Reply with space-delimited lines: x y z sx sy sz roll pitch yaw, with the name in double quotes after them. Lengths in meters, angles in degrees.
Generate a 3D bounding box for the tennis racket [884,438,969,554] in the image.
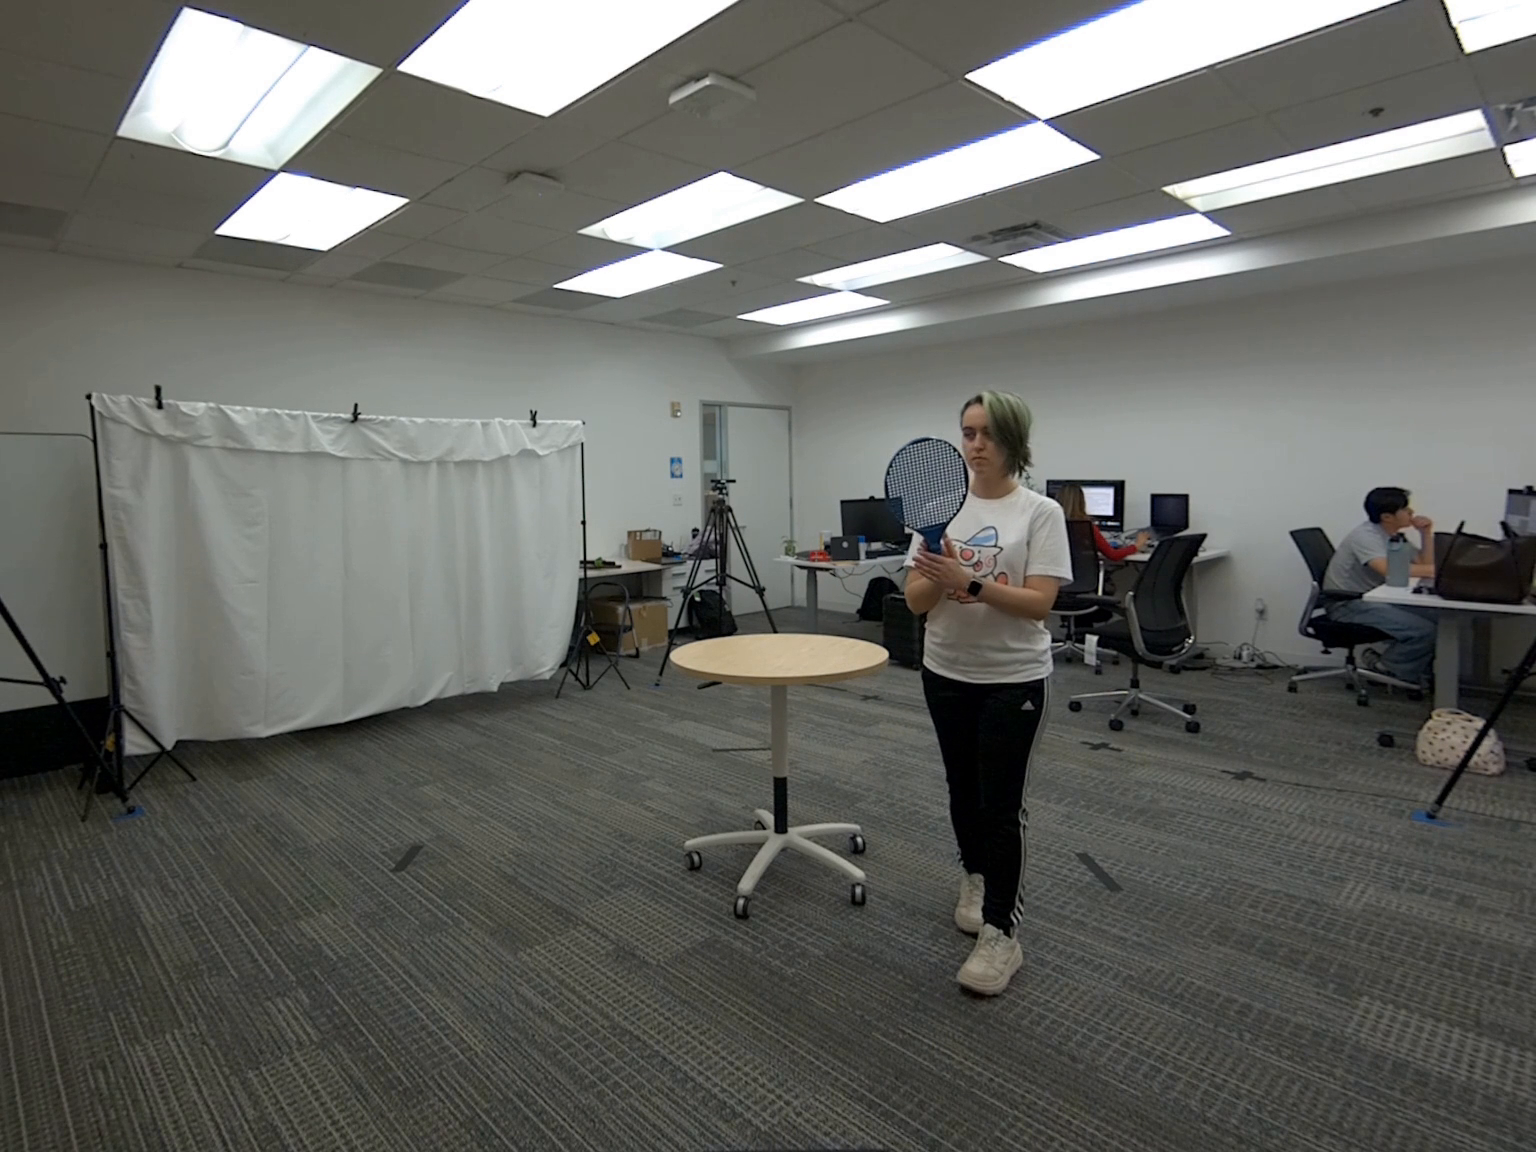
0.433 -0.162 2.196 0.215 0.420 0.032 -17 29 8 "tennis racket"
